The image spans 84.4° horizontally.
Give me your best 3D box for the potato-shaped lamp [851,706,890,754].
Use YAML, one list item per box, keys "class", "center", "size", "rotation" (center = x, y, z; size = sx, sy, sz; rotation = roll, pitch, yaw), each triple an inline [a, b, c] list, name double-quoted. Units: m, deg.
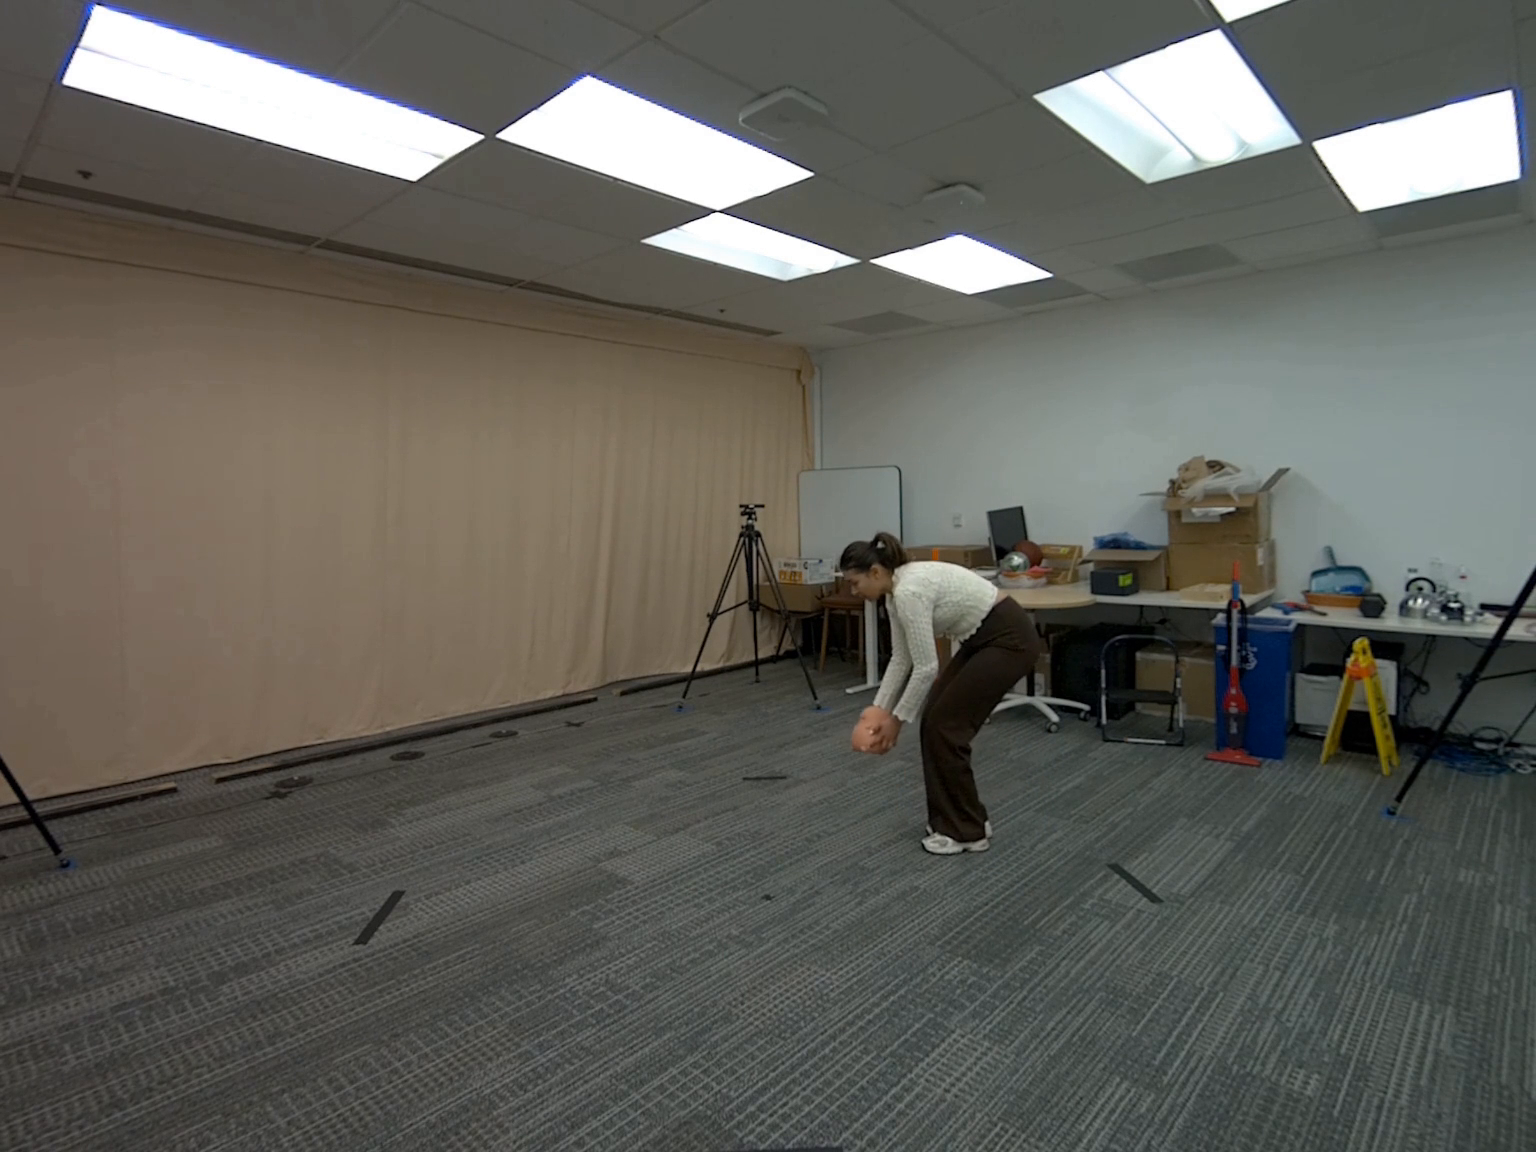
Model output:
- class: "potato-shaped lamp"
  center: [0.443, 0.642, 3.509]
  size: [0.169, 0.199, 0.167]
  rotation: [9, -9, -15]
